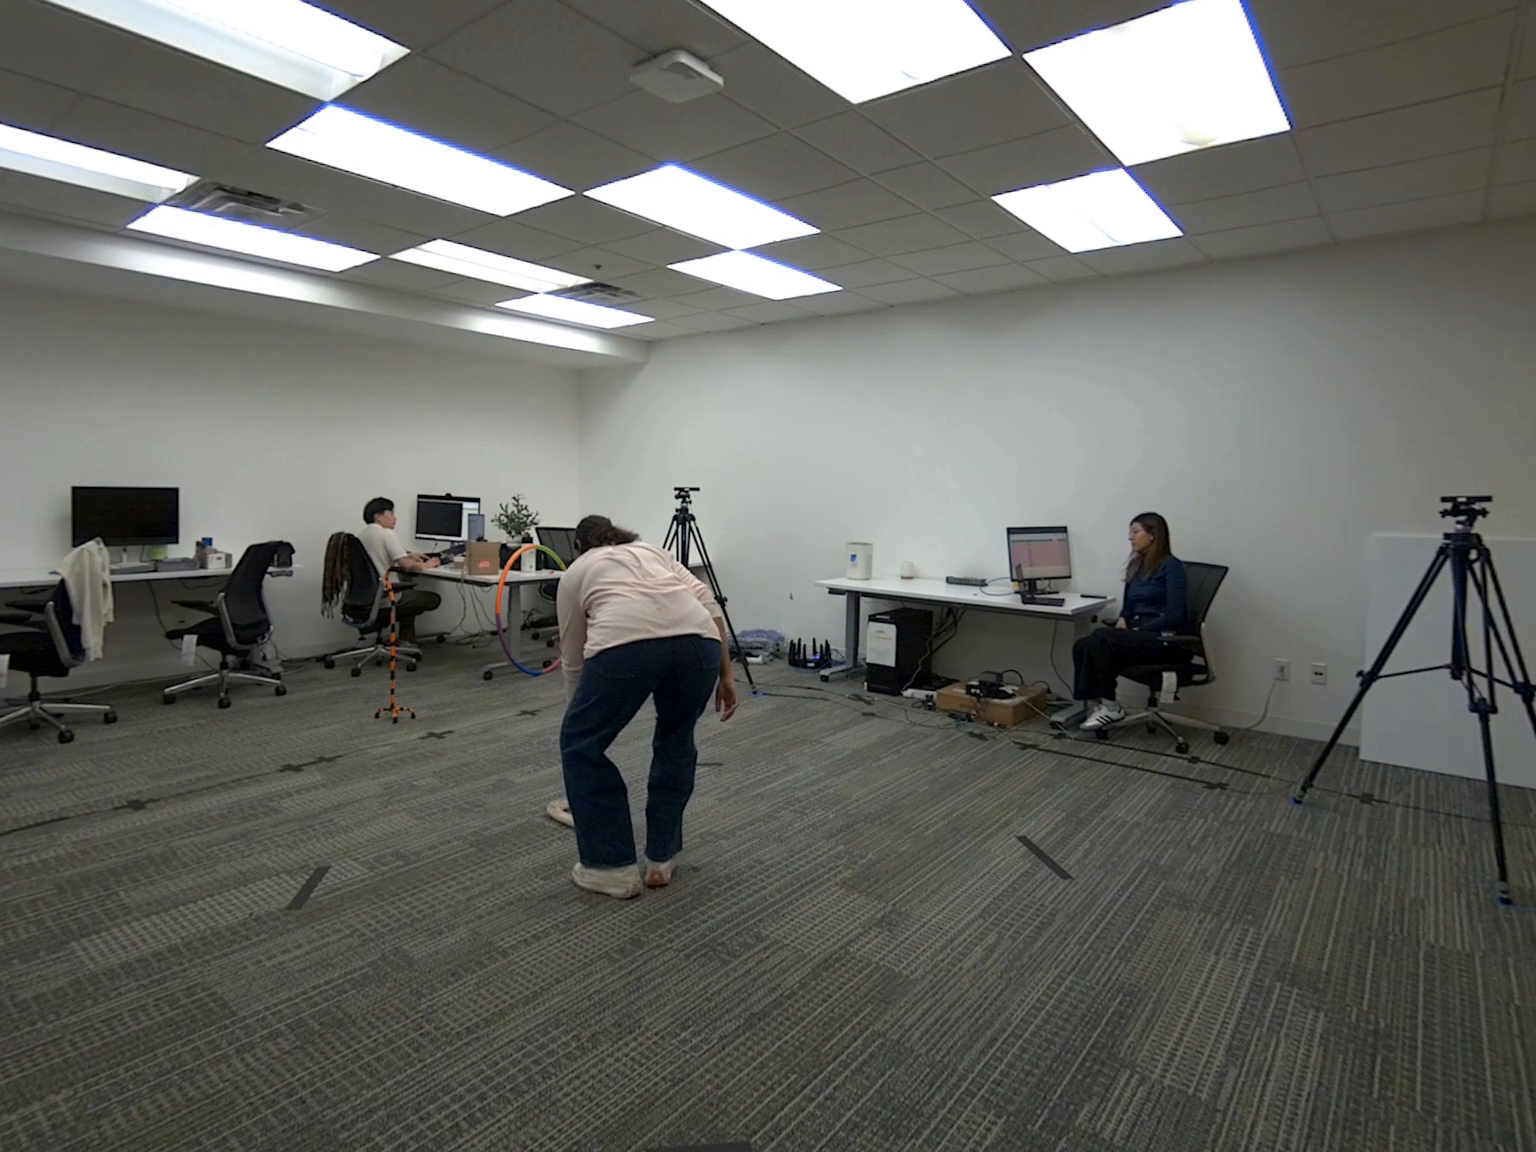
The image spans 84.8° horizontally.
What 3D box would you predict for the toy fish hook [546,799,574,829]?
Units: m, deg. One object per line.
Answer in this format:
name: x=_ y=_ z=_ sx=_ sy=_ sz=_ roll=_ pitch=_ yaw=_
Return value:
toy fish hook: x=-0.747 y=0.996 z=3.491 sx=0.218 sy=0.048 sz=0.524 roll=-3 pitch=7 yaw=-36
